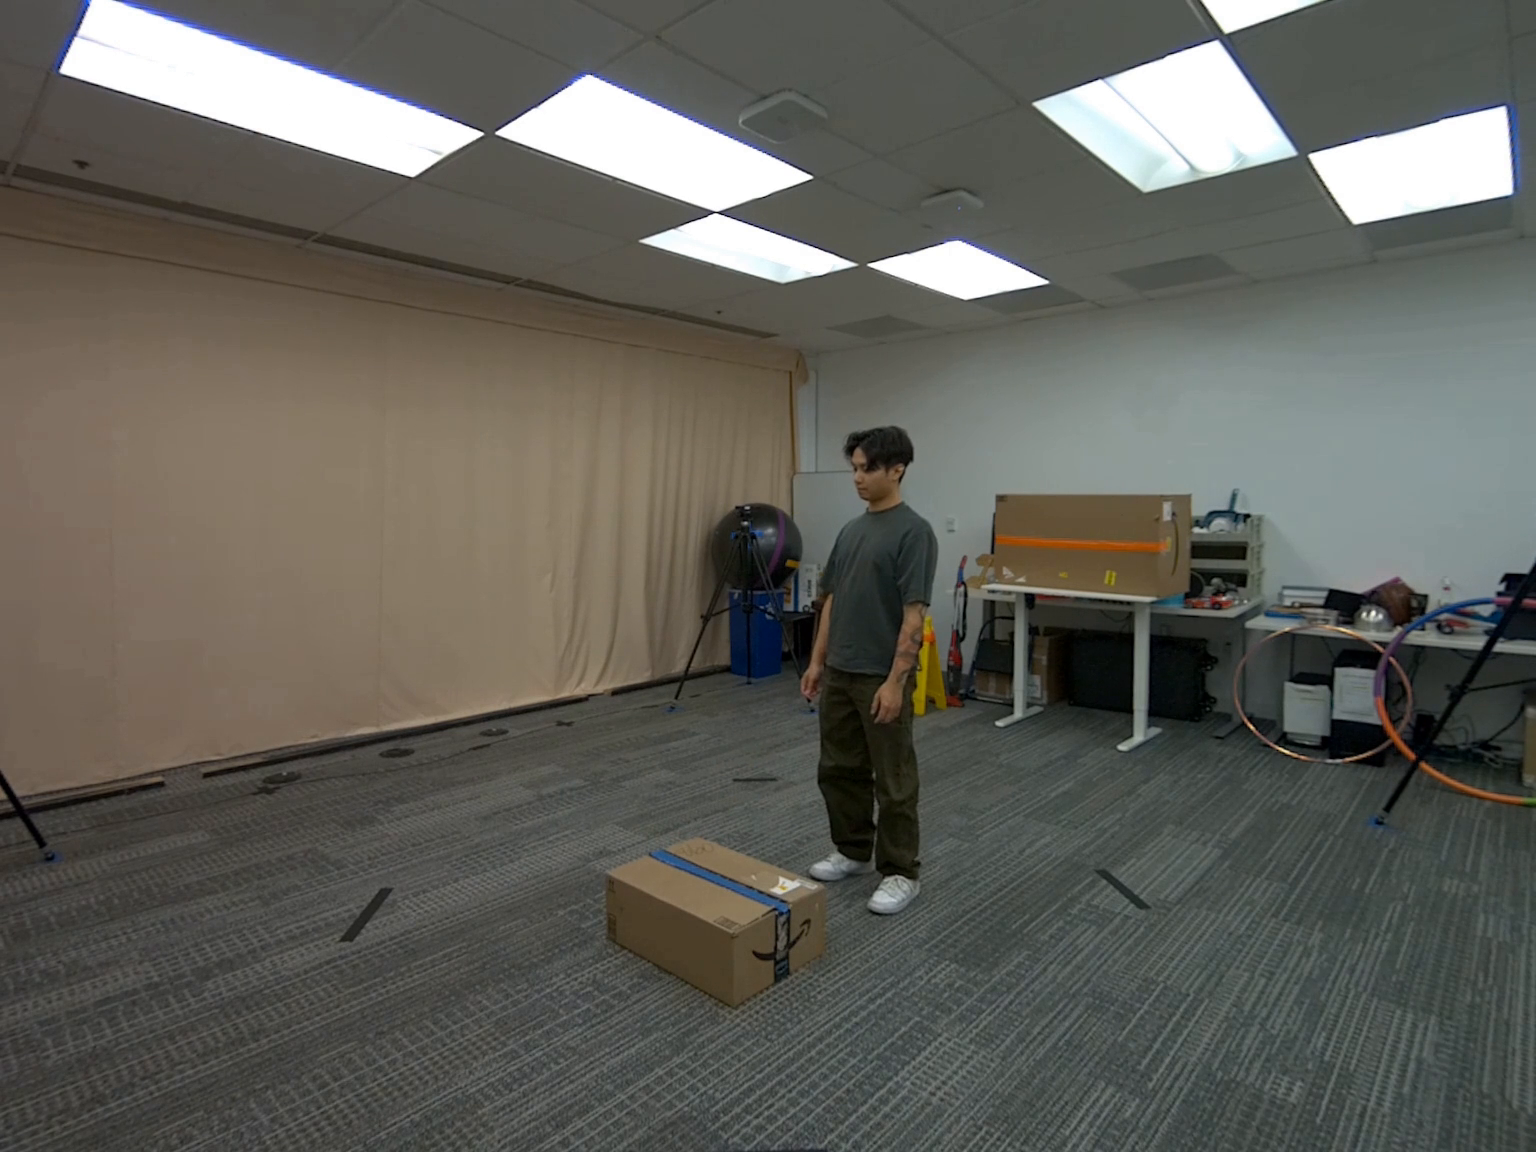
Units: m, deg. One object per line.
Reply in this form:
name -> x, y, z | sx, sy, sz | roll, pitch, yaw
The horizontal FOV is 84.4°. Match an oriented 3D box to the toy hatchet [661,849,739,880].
toy hatchet -> -0.265, 1.115, 3.282 | 0.263, 0.029, 0.134 | 0, 3, -25
